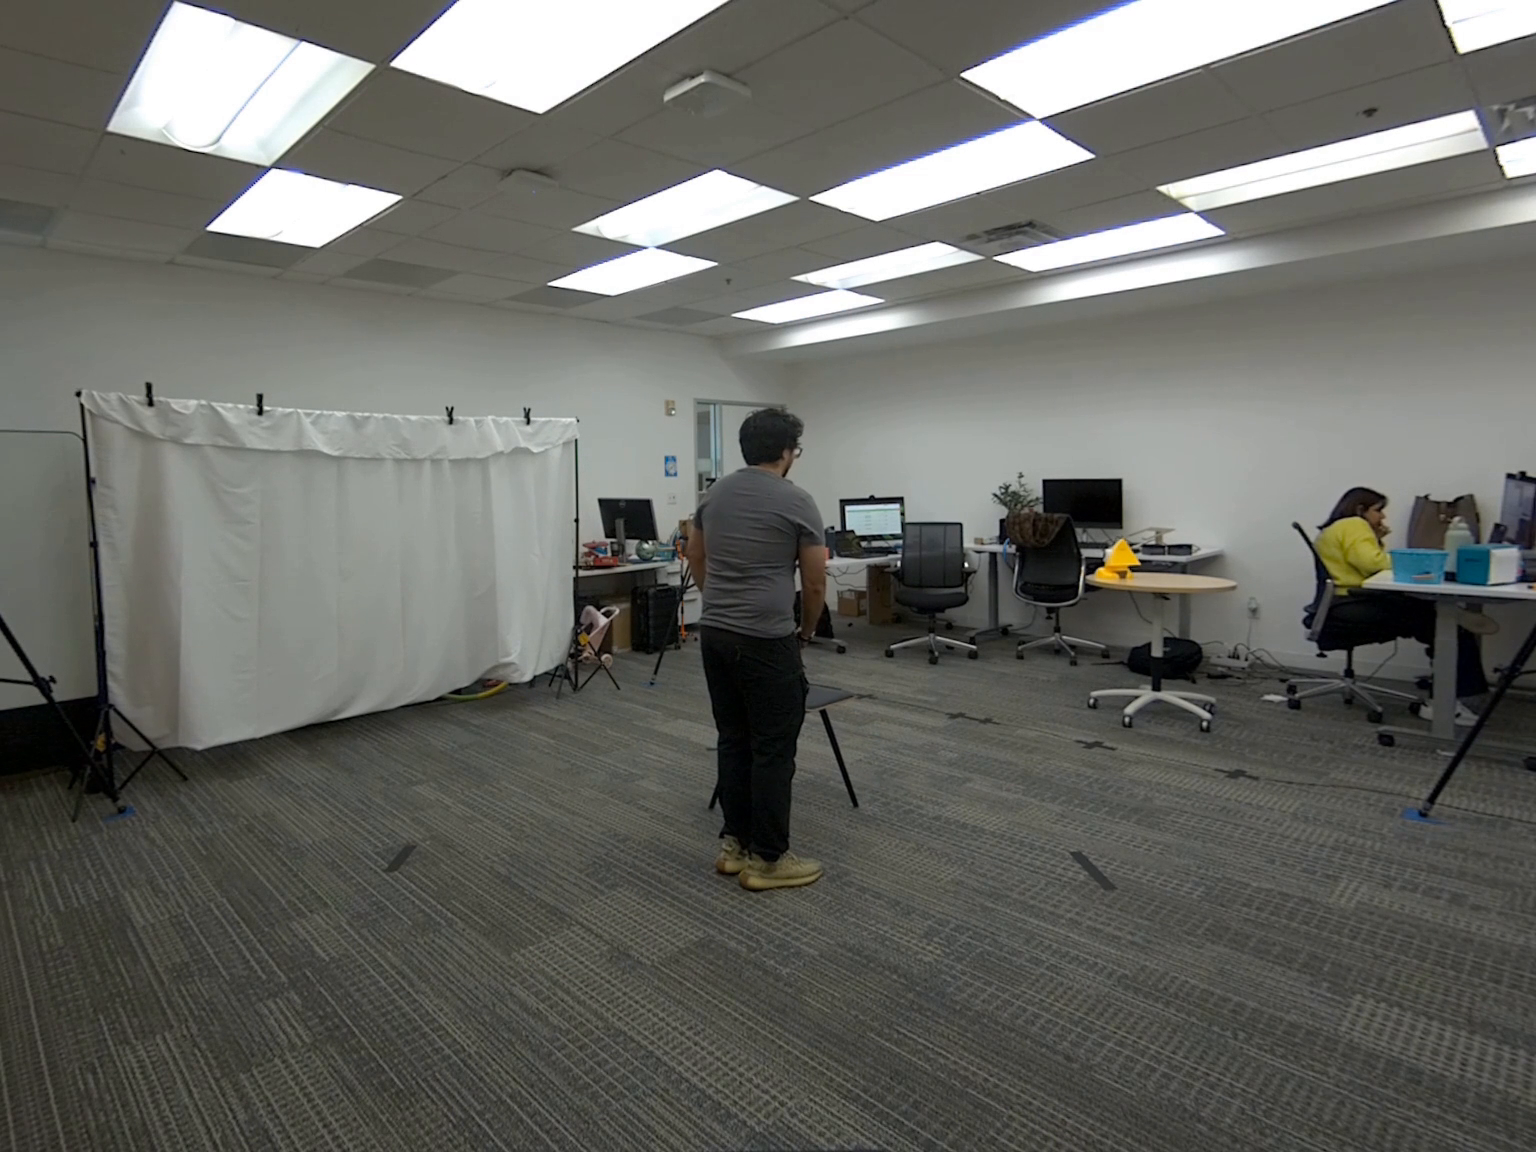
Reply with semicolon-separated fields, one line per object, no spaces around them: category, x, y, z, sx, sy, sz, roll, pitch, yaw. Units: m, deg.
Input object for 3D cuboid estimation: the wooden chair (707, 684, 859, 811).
wooden chair;0.060;0.558;3.597;0.492;0.872;0.511;2;9;44
